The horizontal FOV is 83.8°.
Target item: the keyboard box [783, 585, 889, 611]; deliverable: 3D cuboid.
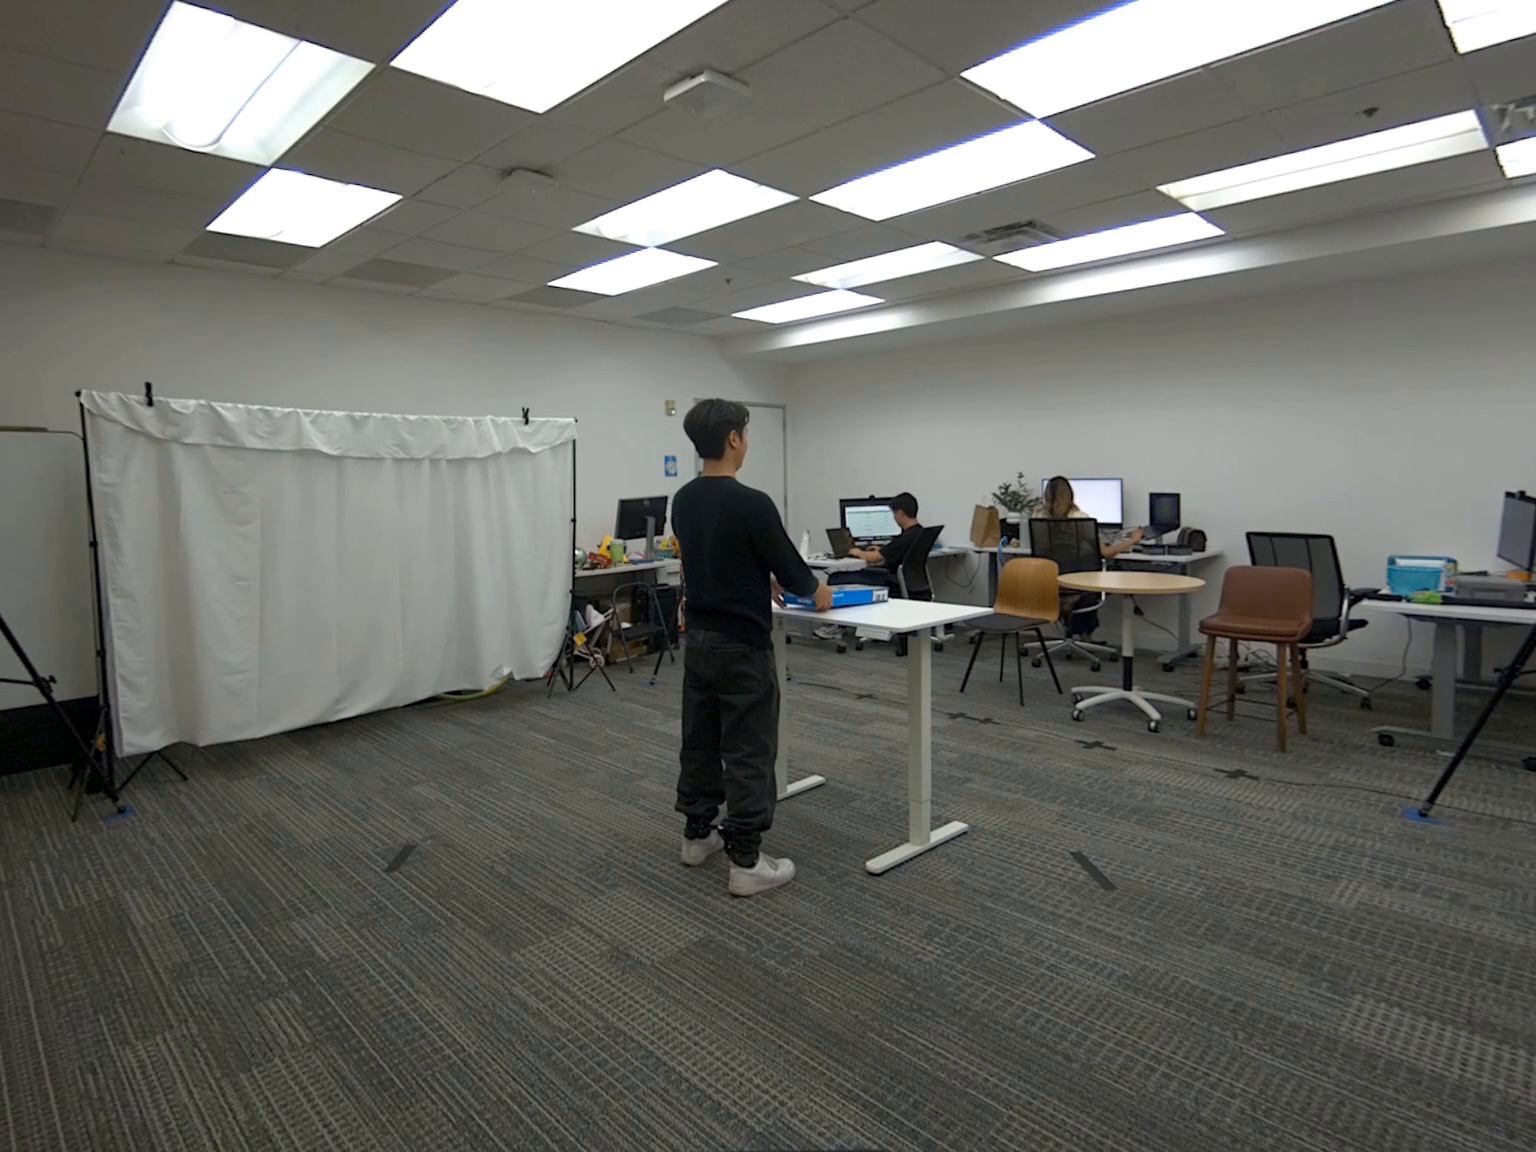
[{"bbox_3d":[0.284,0.080,3.416,0.425,0.059,0.181,-4,7,-40],"label":"keyboard box"}]
